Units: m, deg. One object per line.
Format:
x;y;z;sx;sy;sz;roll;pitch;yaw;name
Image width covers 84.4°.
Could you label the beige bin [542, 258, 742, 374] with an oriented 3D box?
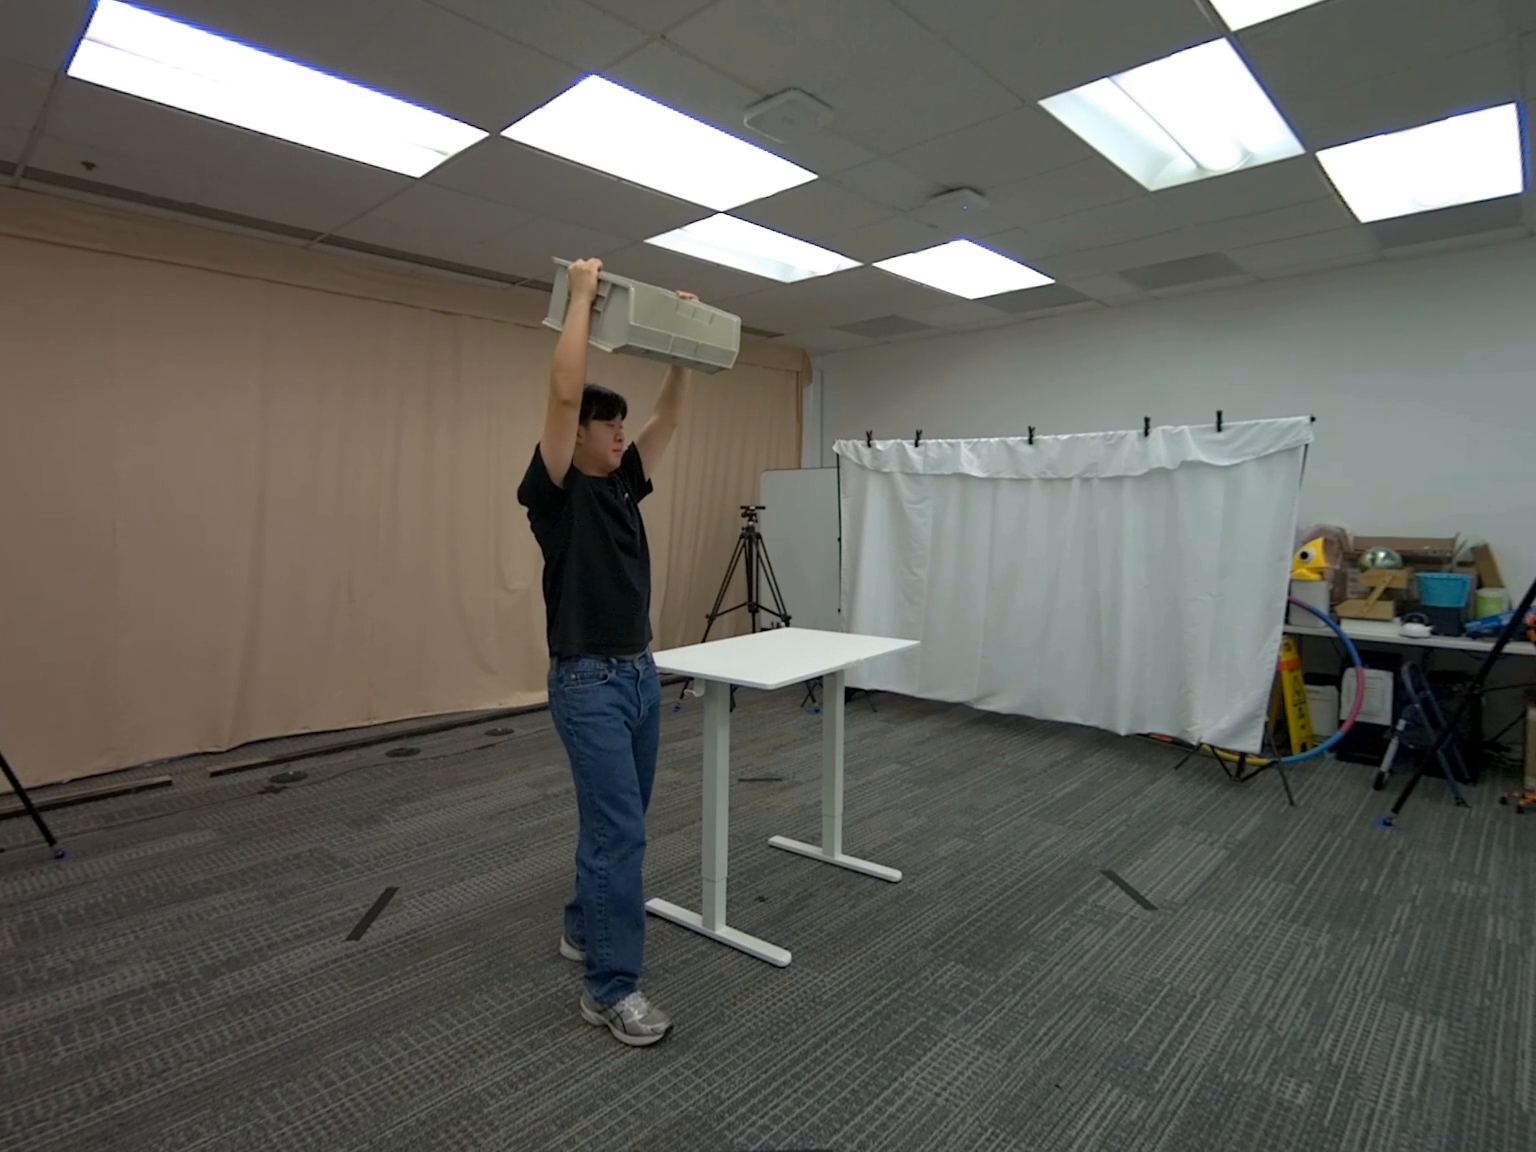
-0.343;-0.713;2.353;0.391;0.188;0.409;31;22;36;beige bin
